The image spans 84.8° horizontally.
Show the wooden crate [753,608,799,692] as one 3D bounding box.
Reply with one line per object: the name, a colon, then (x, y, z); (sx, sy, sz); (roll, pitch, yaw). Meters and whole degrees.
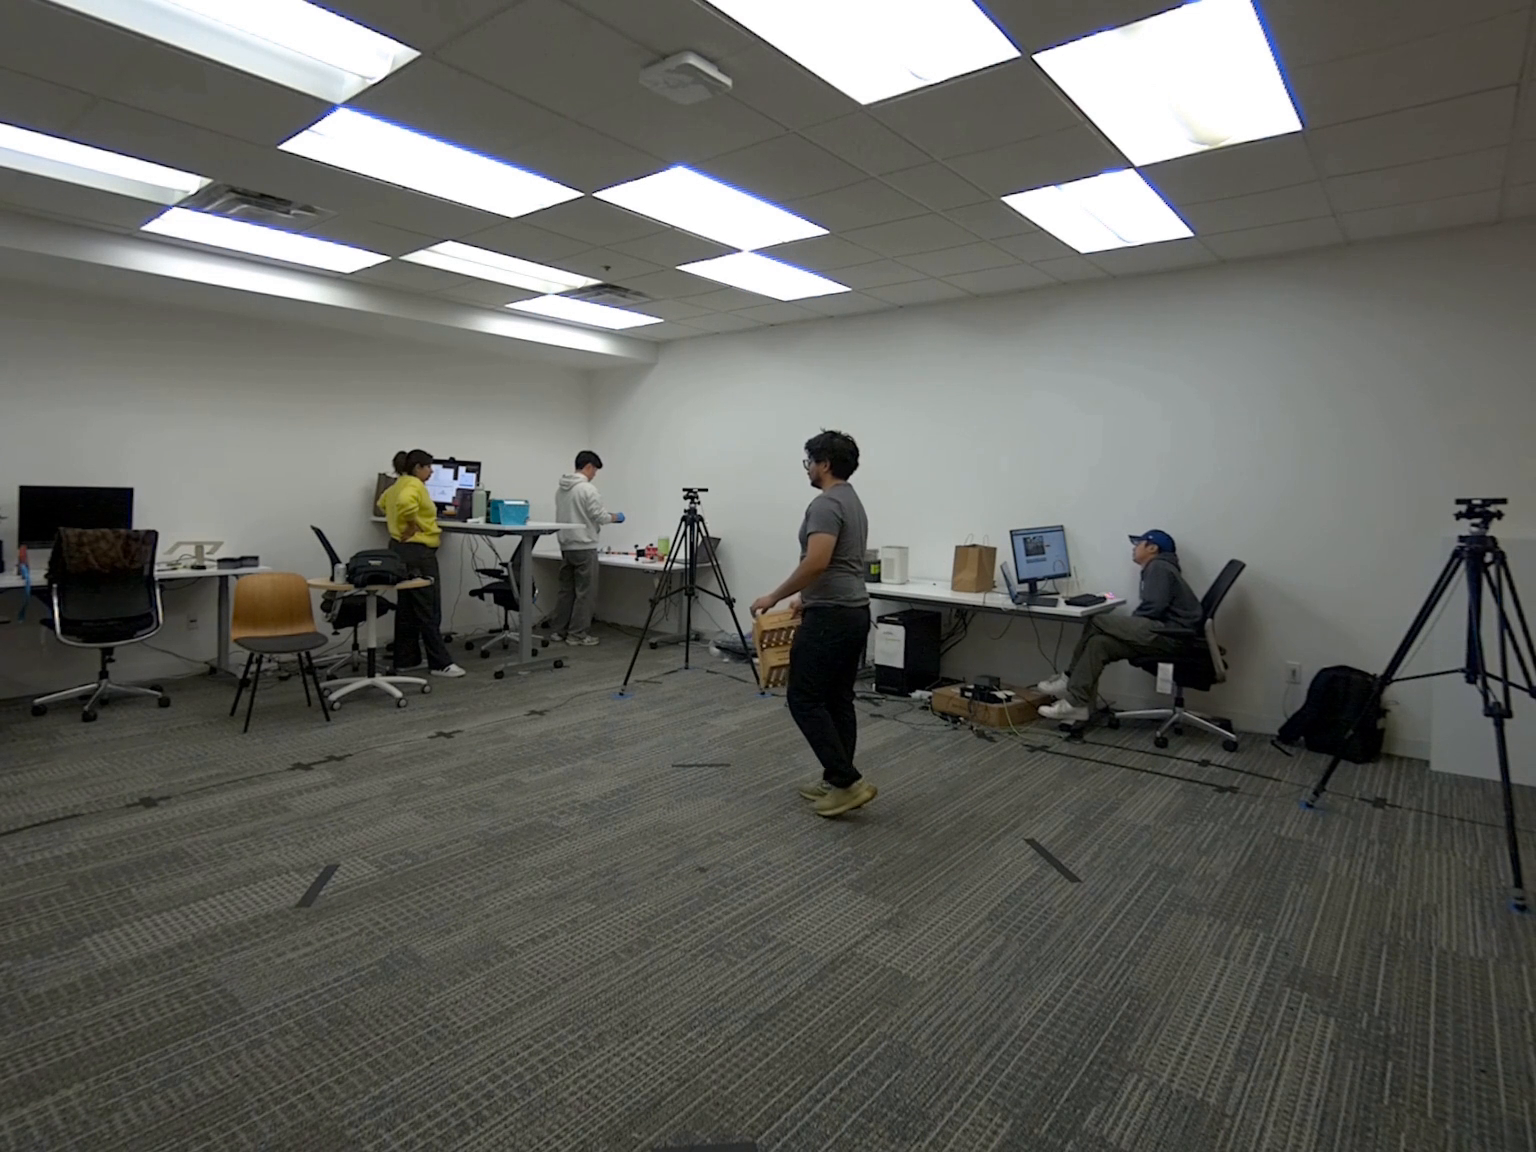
wooden crate: (0.089, 0.341, 4.102); (0.320, 0.283, 0.296); (-8, -35, -16)
